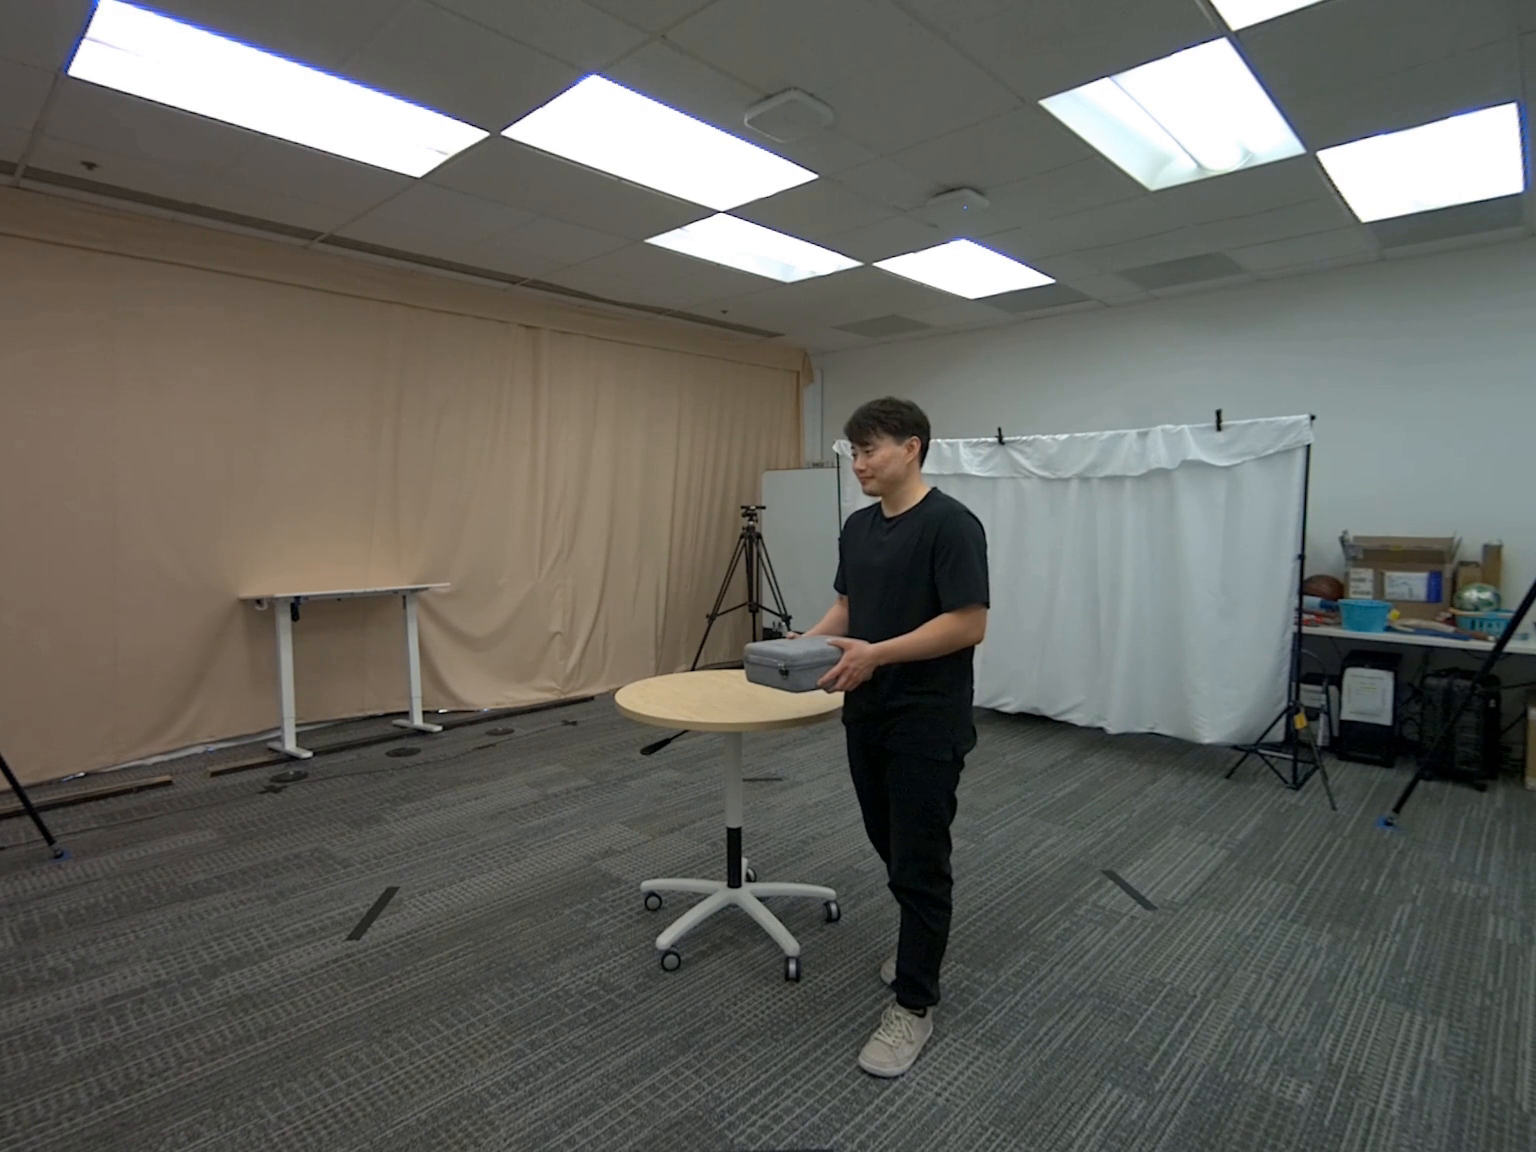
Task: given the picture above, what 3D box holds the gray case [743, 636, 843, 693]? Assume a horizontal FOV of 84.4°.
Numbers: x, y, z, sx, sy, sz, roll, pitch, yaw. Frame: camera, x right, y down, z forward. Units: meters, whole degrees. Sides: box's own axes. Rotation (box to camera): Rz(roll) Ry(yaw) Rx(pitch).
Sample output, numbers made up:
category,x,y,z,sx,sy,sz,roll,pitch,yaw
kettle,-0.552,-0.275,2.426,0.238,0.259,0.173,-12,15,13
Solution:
category,x,y,z,sx,sy,sz,roll,pitch,yaw
gray case,0.094,0.225,2.139,0.254,0.104,0.264,-6,4,-28
